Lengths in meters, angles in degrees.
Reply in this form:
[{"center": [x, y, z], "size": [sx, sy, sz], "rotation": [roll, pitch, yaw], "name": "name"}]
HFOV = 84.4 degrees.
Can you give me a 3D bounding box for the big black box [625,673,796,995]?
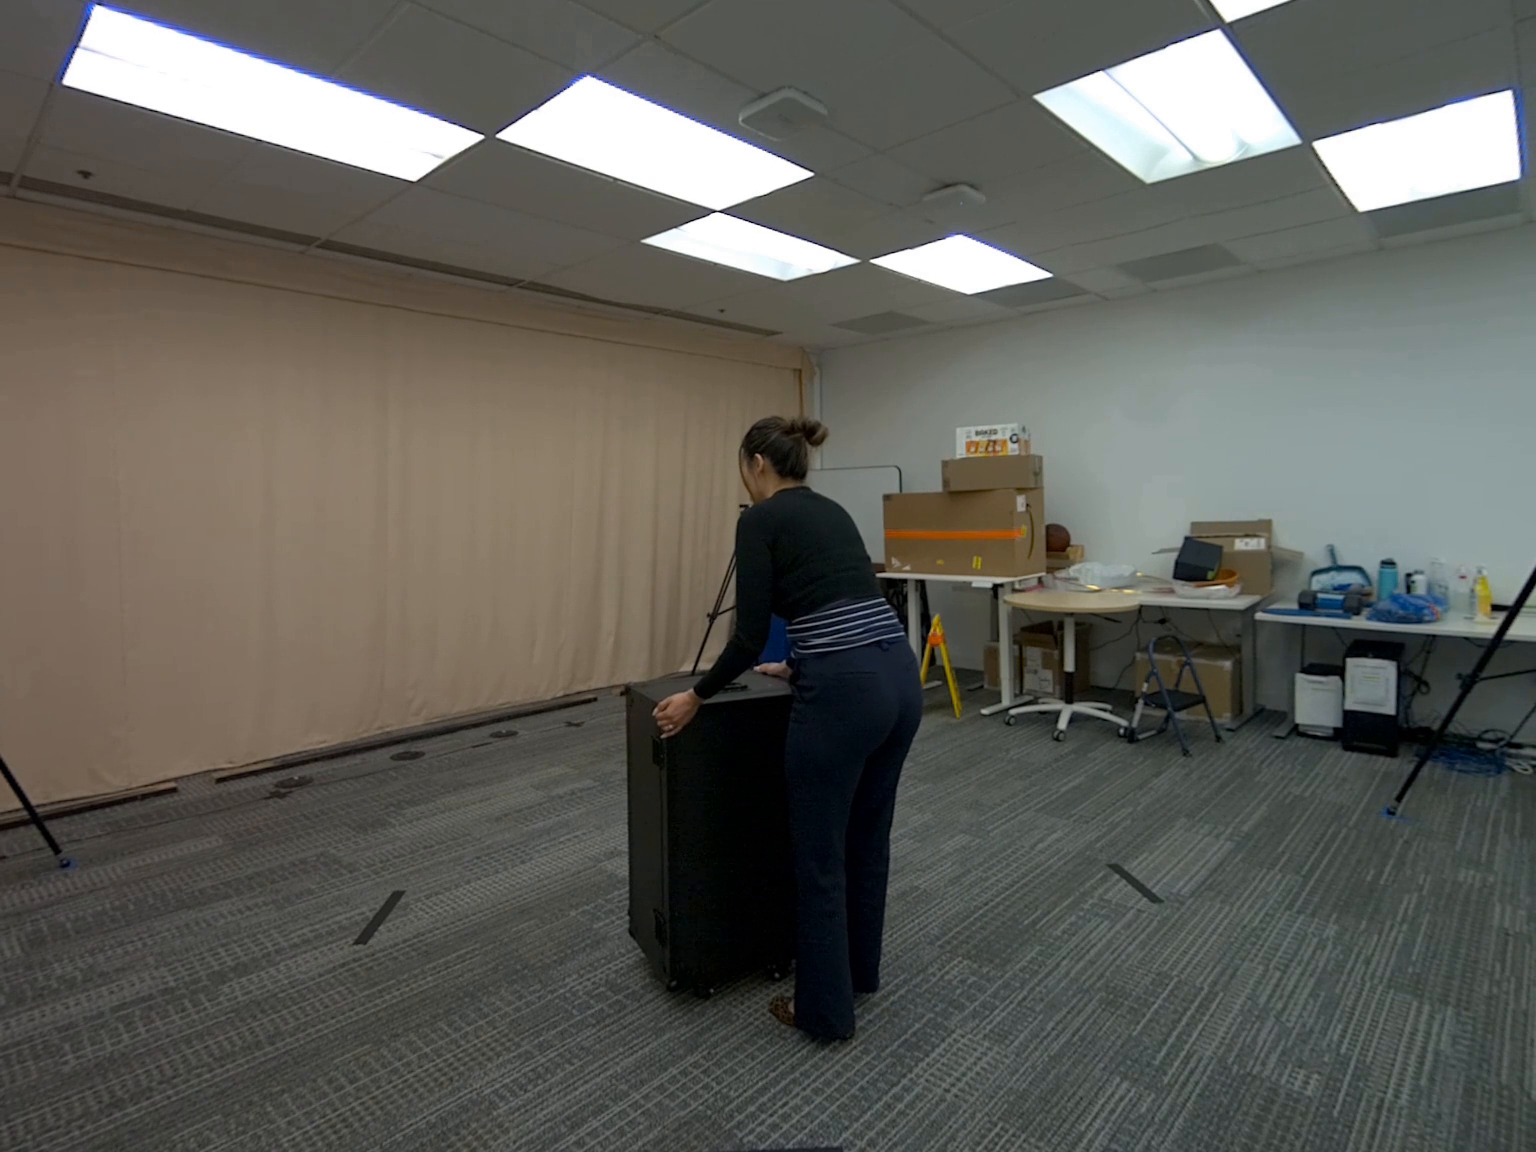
[{"center": [-0.145, 0.751, 2.533], "size": [0.509, 0.860, 0.406], "rotation": [-2, 2, -25], "name": "big black box"}]
